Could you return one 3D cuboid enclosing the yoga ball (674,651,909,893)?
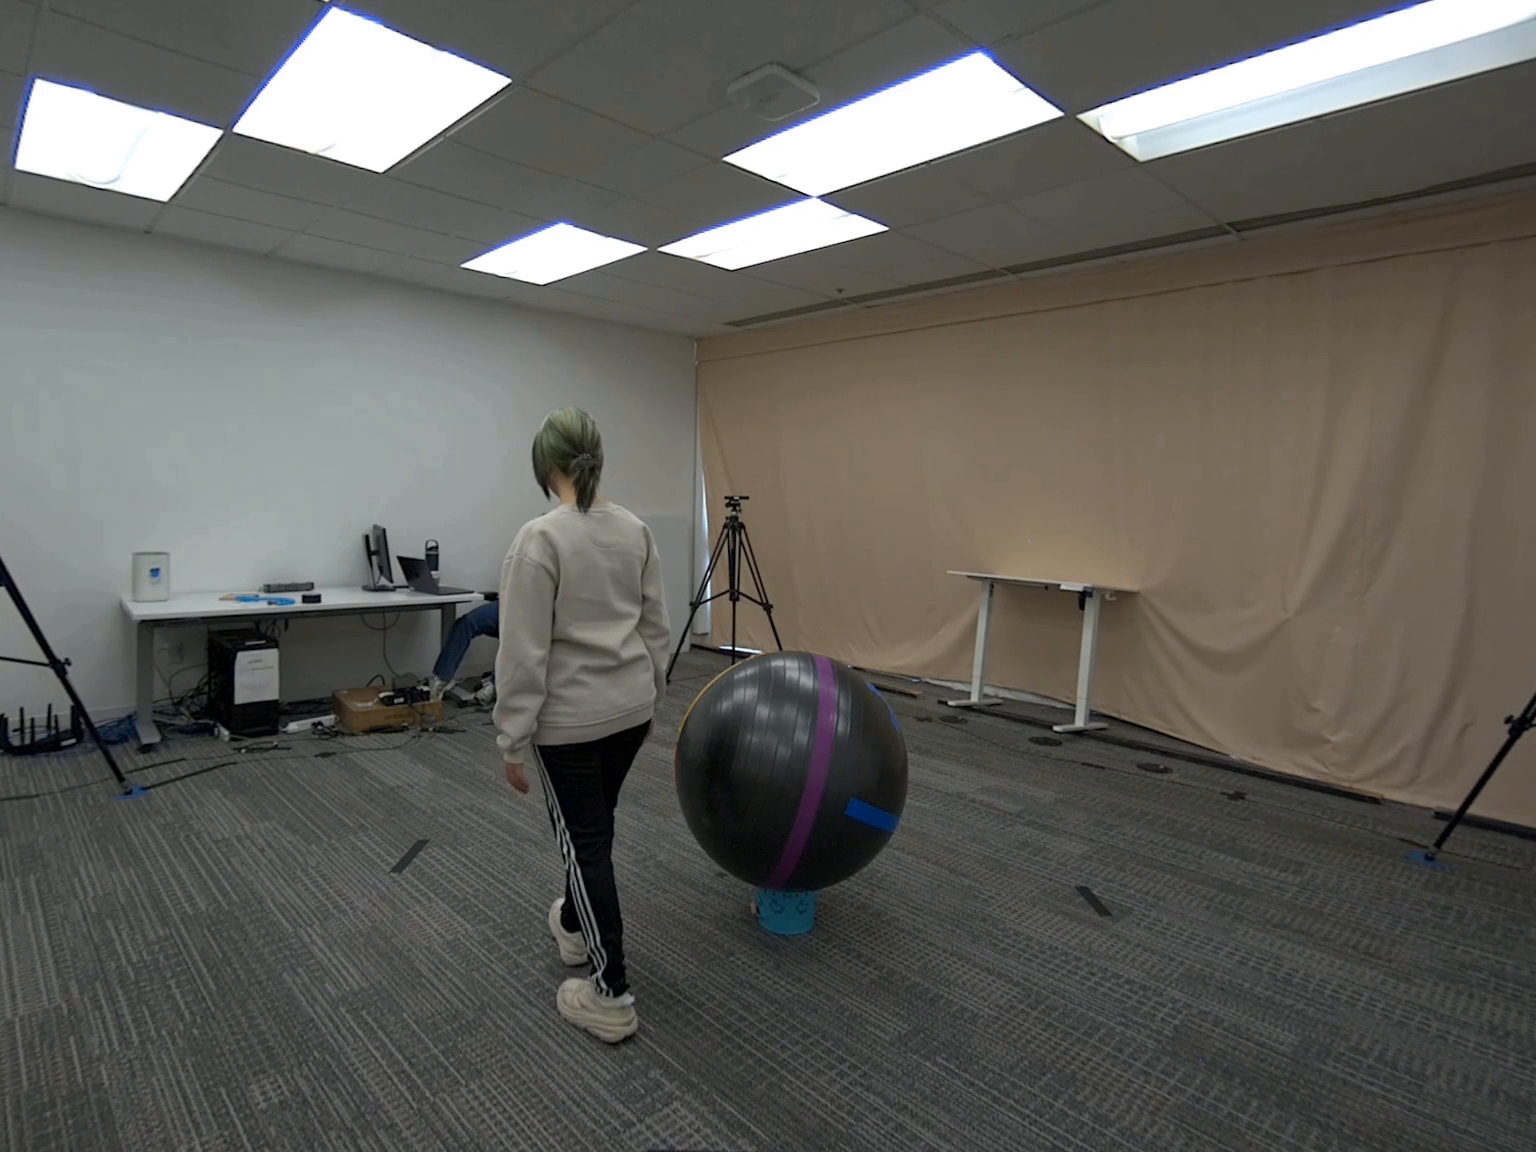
[{"bbox_3d":[0.066,0.630,2.751,0.757,0.756,0.761,1,4,-1],"label":"yoga ball"}]
